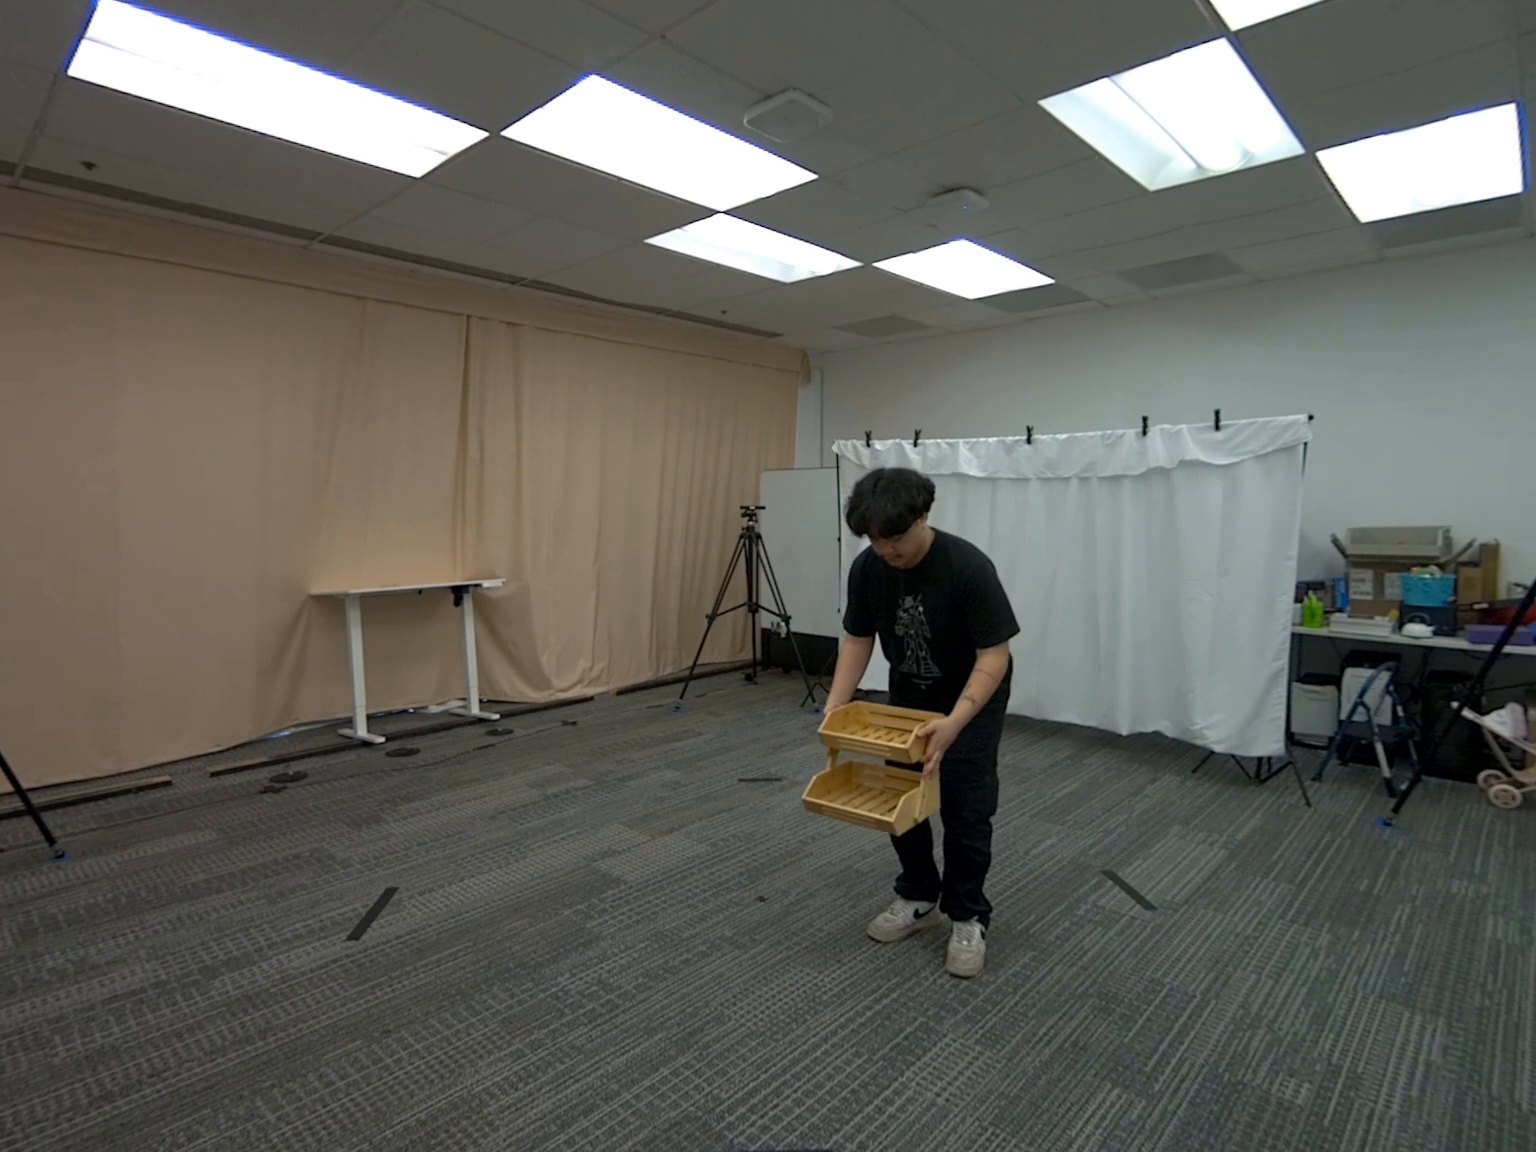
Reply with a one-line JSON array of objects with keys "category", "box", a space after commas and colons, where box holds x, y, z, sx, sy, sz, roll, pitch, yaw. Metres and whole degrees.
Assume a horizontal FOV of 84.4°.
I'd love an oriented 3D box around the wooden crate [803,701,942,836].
[{"category": "wooden crate", "box": [0.308, 0.535, 2.412, 0.335, 0.272, 0.293, 1, 7, 41]}]
